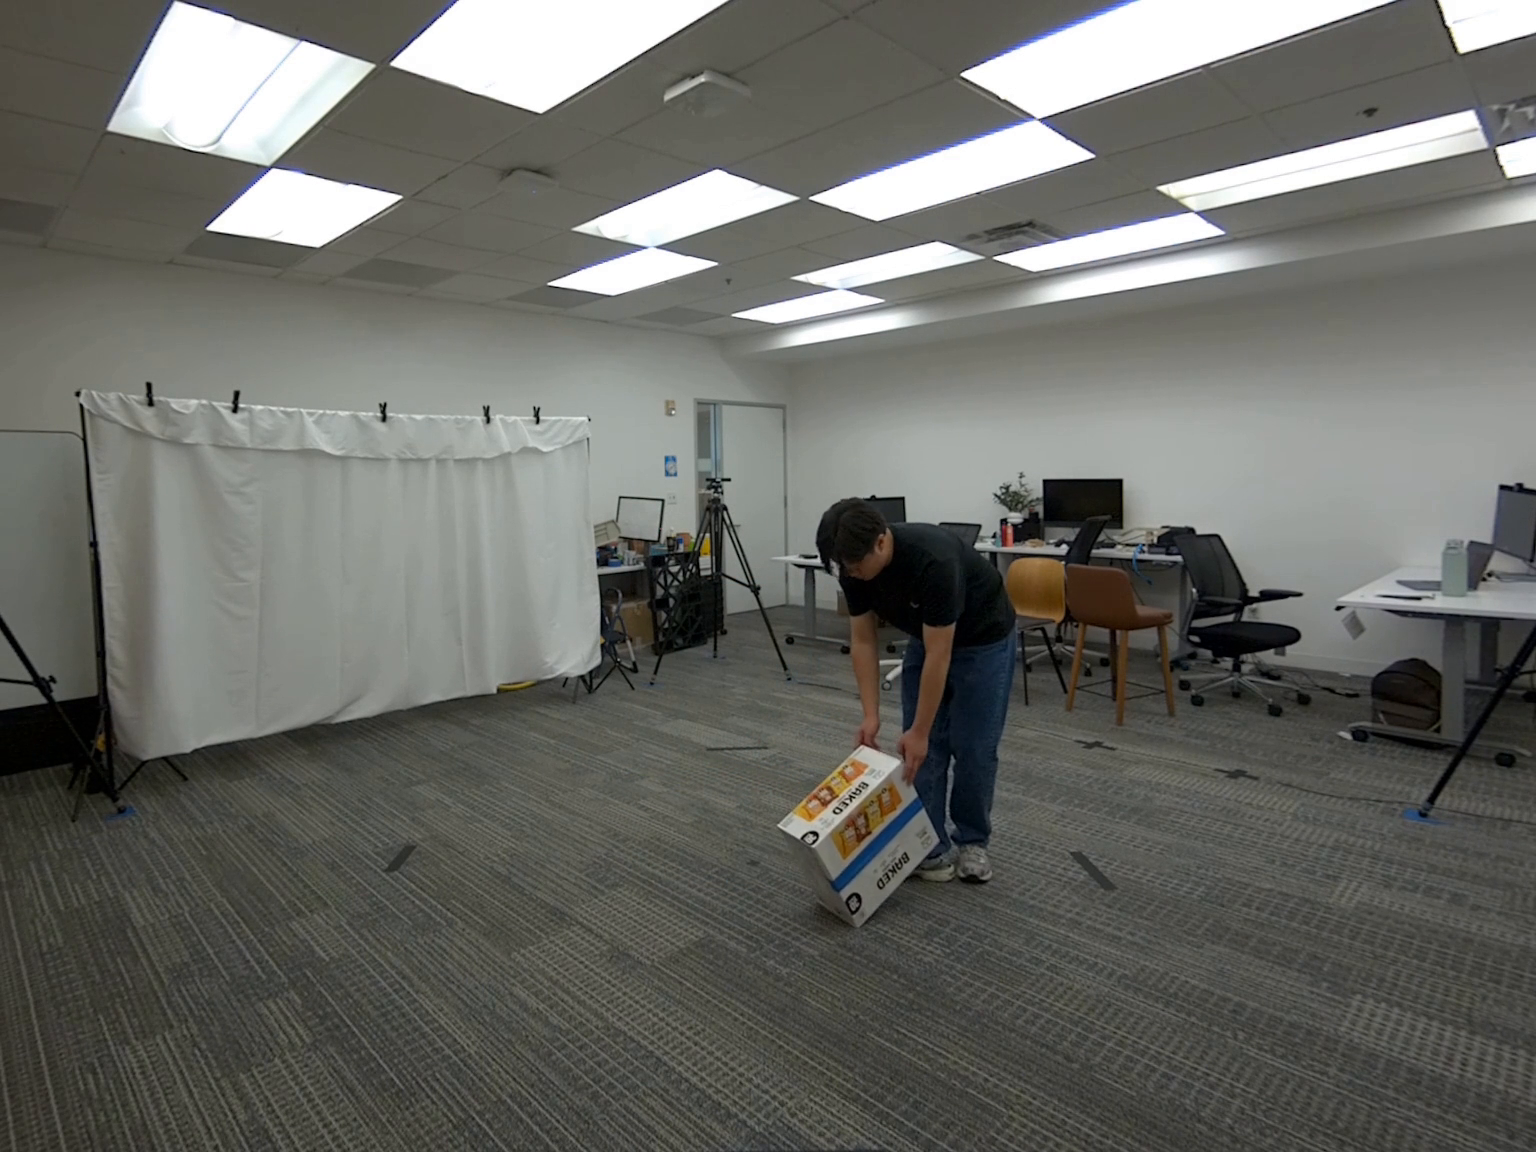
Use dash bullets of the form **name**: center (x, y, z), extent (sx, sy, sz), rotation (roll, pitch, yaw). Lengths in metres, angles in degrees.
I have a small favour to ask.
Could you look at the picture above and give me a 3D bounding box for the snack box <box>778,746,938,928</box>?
- **snack box**: center (0.304, 0.832, 2.750), extent (0.403, 0.333, 0.211), rotation (-36, 20, -23)
